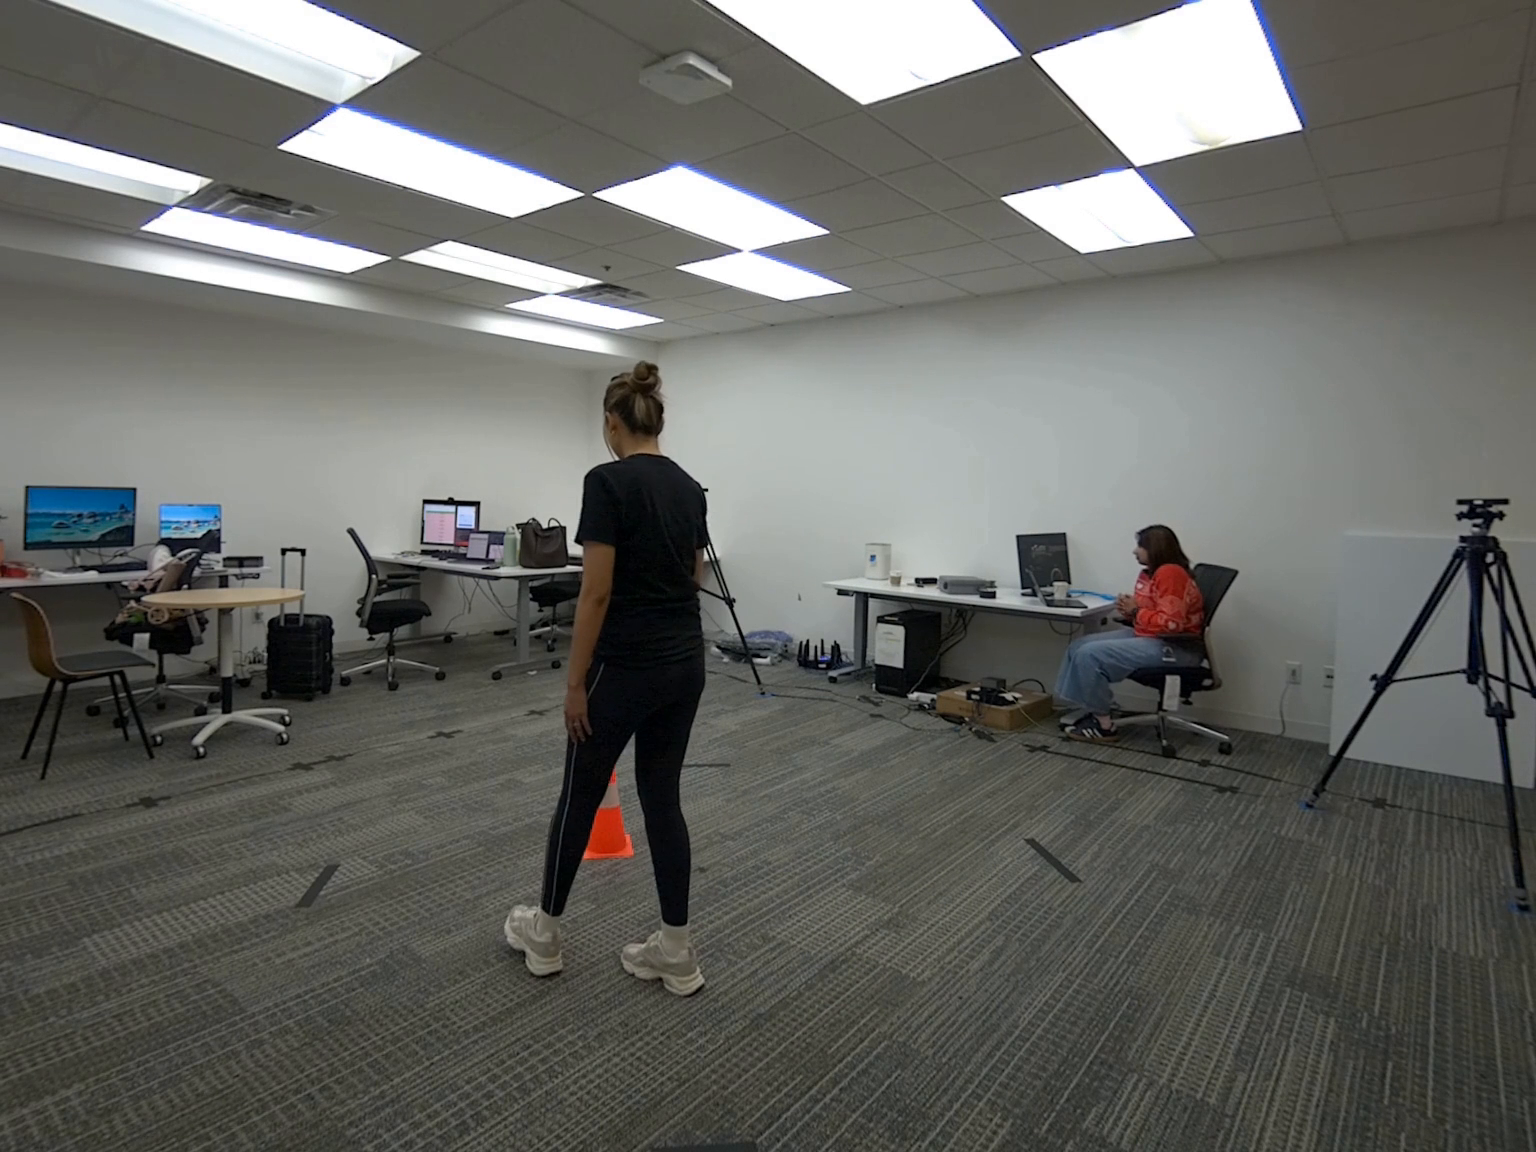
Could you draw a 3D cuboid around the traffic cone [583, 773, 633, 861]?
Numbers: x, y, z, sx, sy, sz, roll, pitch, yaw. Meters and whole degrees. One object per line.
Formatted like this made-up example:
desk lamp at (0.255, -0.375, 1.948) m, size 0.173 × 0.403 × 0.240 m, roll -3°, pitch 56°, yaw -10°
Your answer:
traffic cone at (-0.634, 0.861, 3.283) m, size 0.201 × 0.383 × 0.208 m, roll 0°, pitch 1°, yaw -13°
